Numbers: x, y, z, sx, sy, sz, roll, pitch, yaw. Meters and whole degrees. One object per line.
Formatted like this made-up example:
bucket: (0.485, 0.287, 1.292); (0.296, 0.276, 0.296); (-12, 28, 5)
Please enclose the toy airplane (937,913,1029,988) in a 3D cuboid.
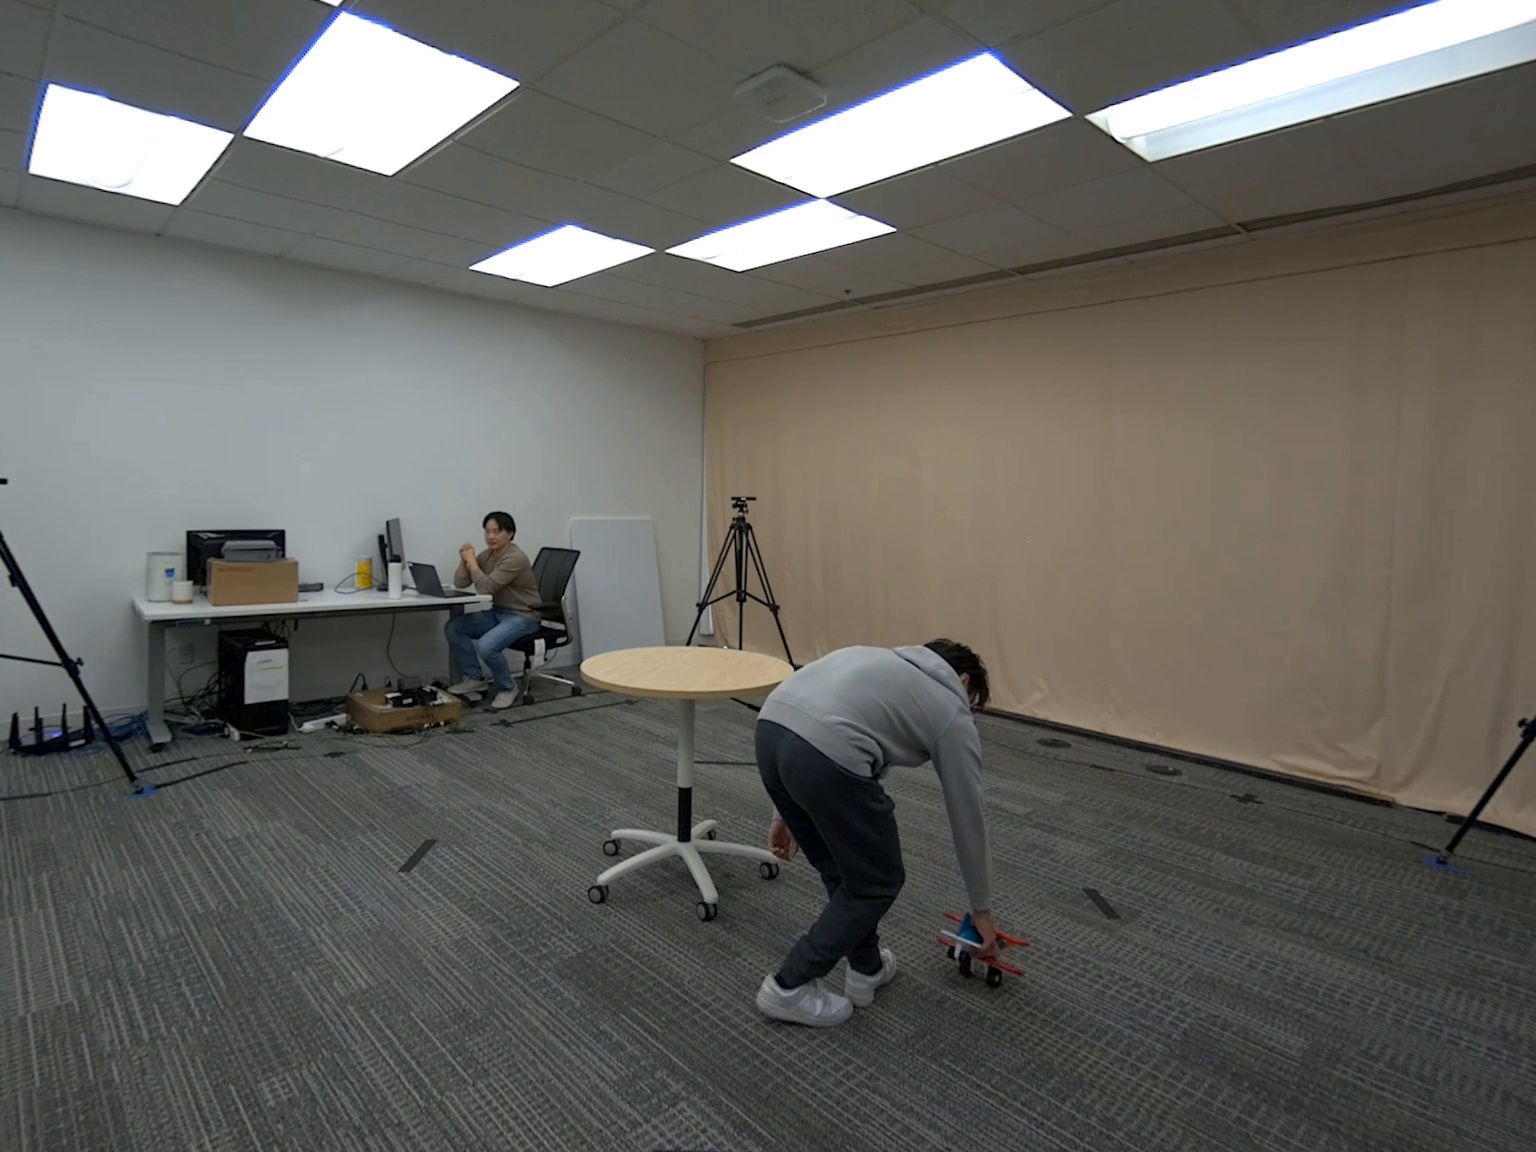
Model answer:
toy airplane: (0.614, 1.076, 2.425); (0.256, 0.157, 0.253); (22, -26, 19)
